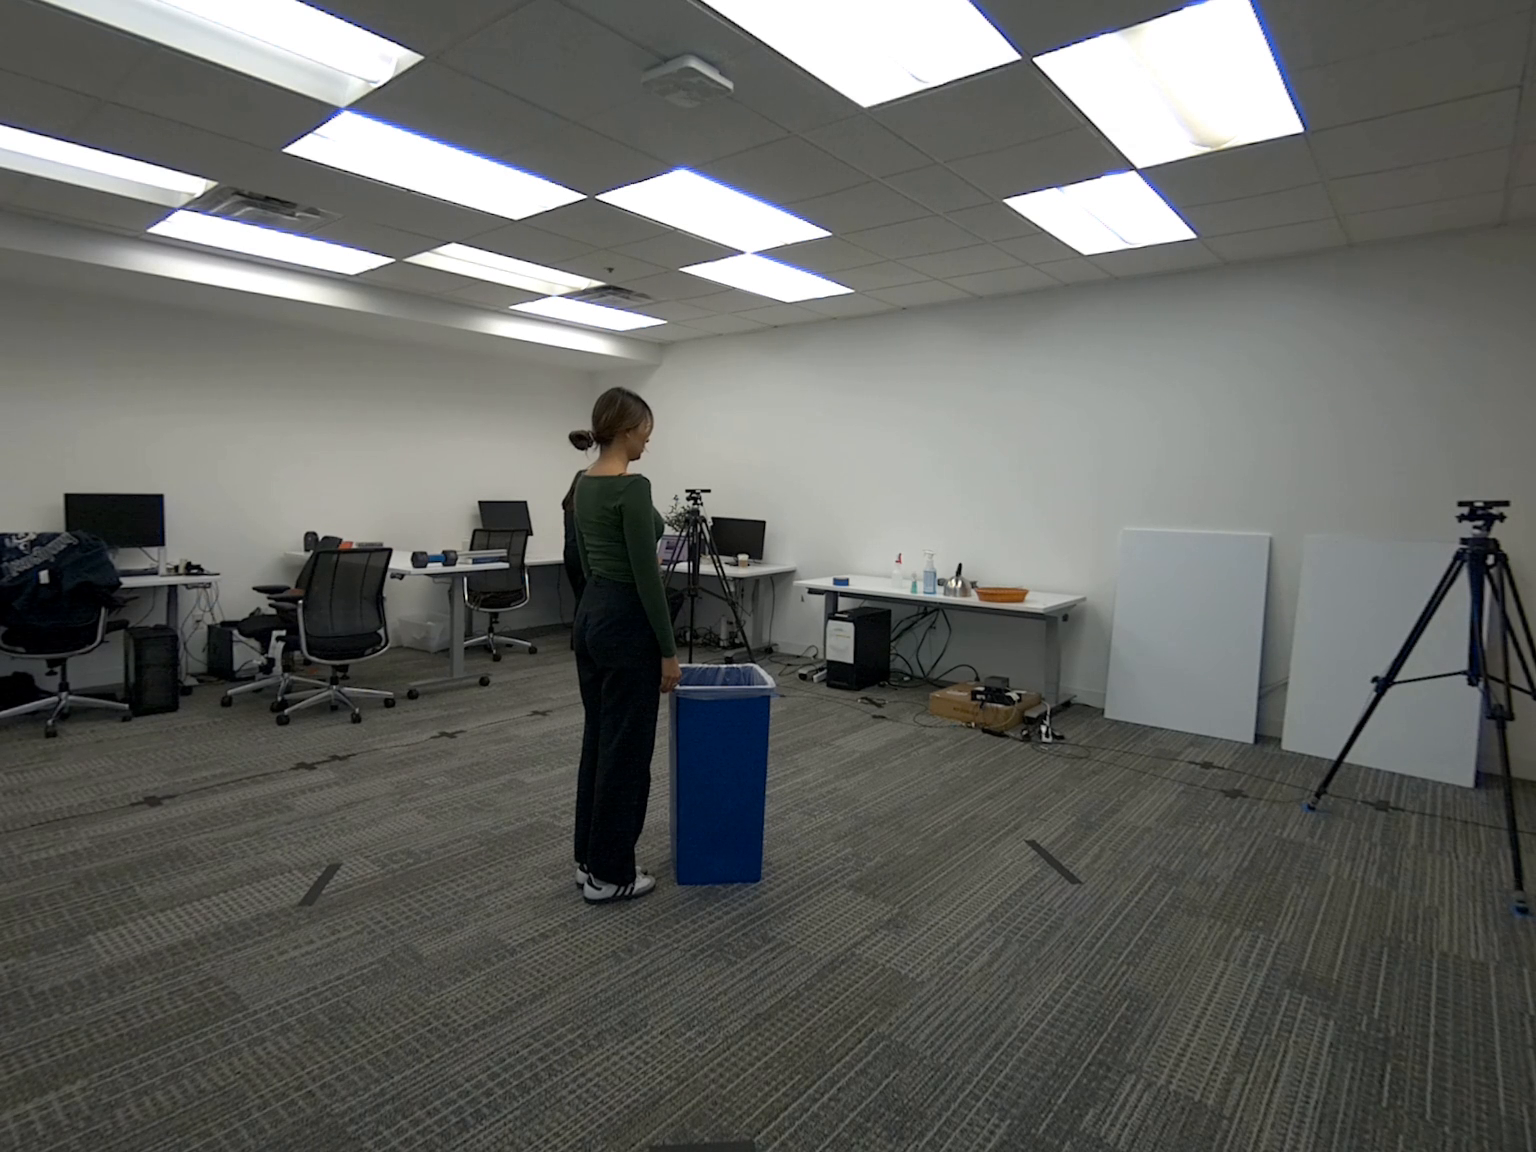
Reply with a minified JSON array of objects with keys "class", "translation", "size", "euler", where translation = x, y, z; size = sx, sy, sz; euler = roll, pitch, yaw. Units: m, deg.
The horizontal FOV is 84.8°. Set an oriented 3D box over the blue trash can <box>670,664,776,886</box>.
[{"class":"blue trash can","translation":[-0.199,0.714,3.137],"size":[0.370,0.711,0.383],"euler":[0,4,-10]}]
